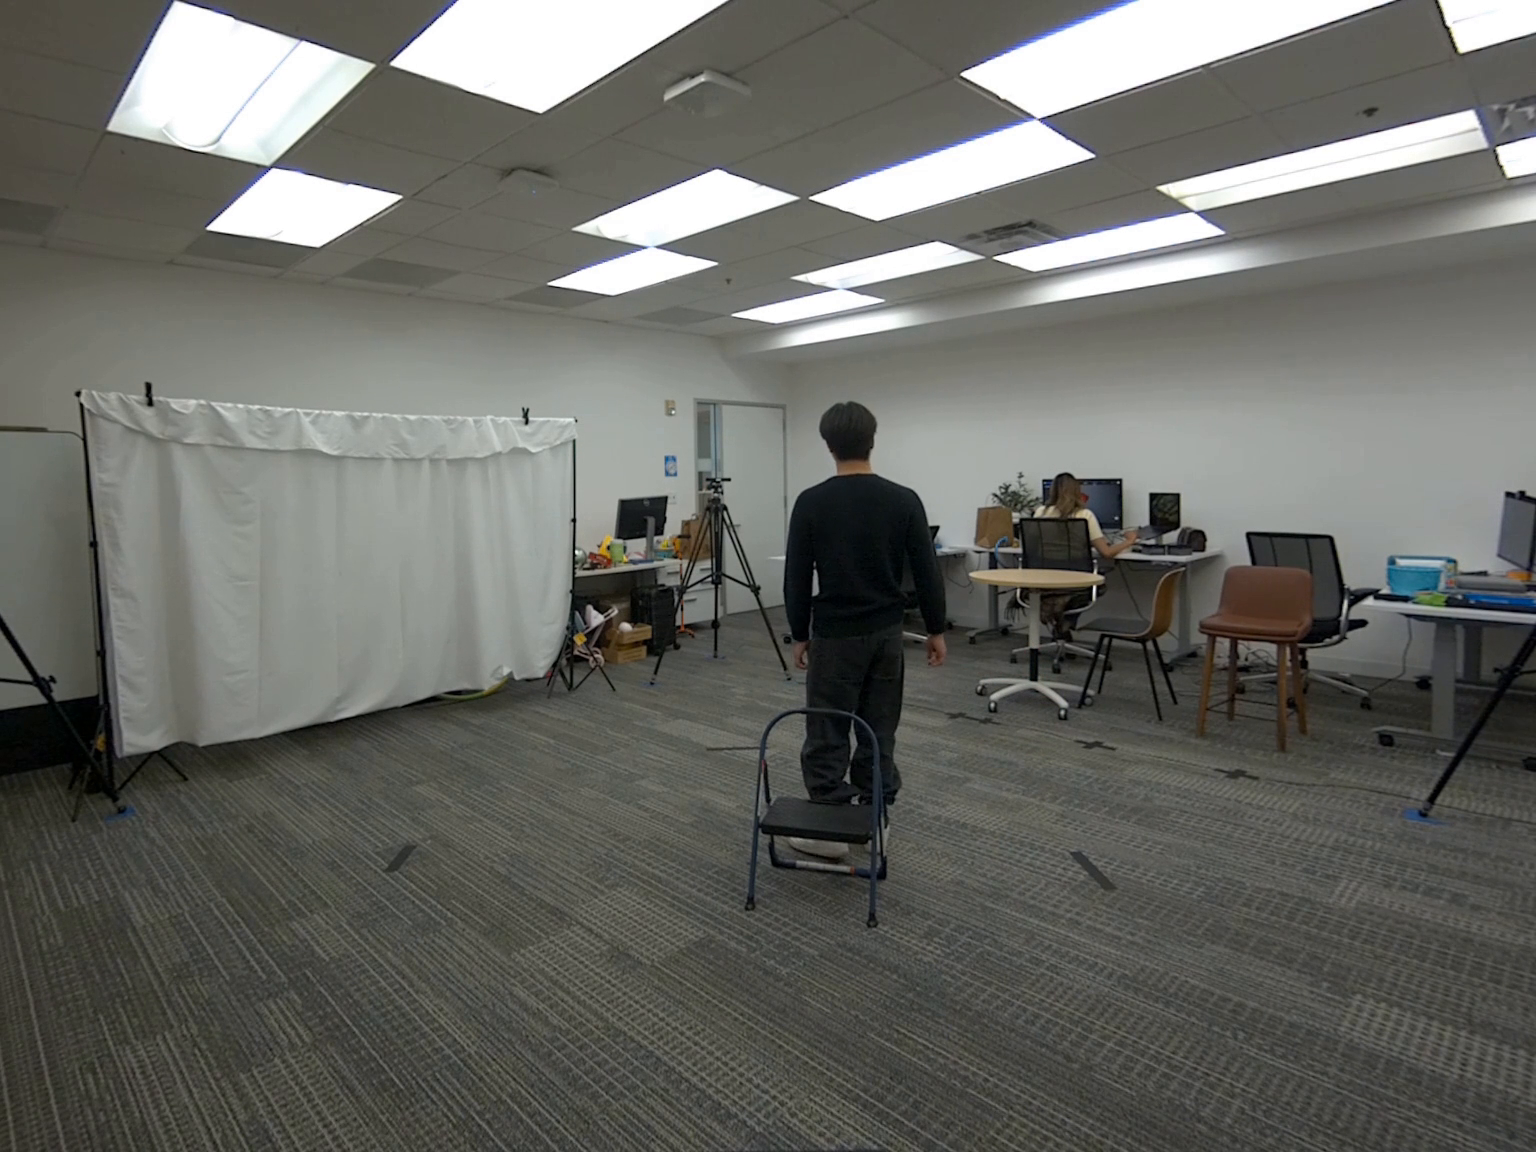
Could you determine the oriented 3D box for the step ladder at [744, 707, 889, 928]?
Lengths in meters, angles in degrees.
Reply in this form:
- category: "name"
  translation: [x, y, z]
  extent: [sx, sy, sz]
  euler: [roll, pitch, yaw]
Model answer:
- category: "step ladder"
  translation: [0.168, 0.765, 2.849]
  extent: [0.438, 0.603, 0.345]
  euler: [0, 5, 16]
